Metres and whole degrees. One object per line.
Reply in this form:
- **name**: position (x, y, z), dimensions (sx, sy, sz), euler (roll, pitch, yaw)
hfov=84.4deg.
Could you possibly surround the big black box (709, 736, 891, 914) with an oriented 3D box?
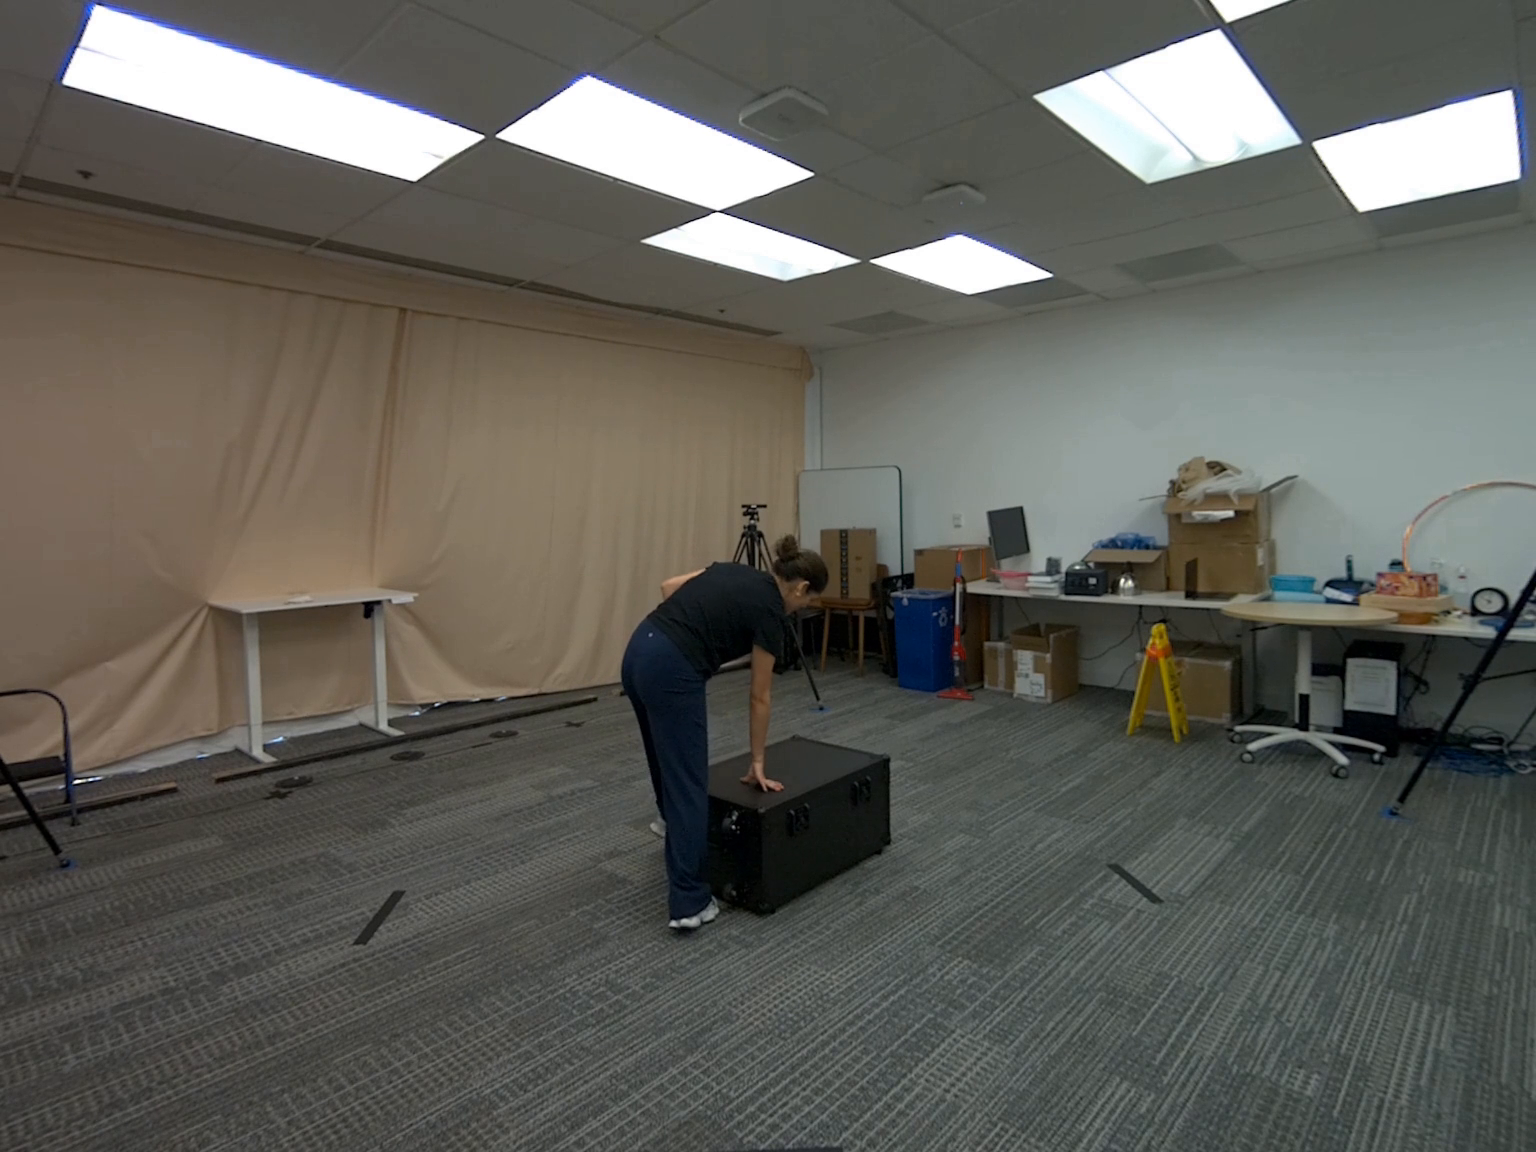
- **big black box**: position (0.050, 0.914, 3.222), dimensions (0.538, 0.395, 0.836), euler (3, 7, 42)
